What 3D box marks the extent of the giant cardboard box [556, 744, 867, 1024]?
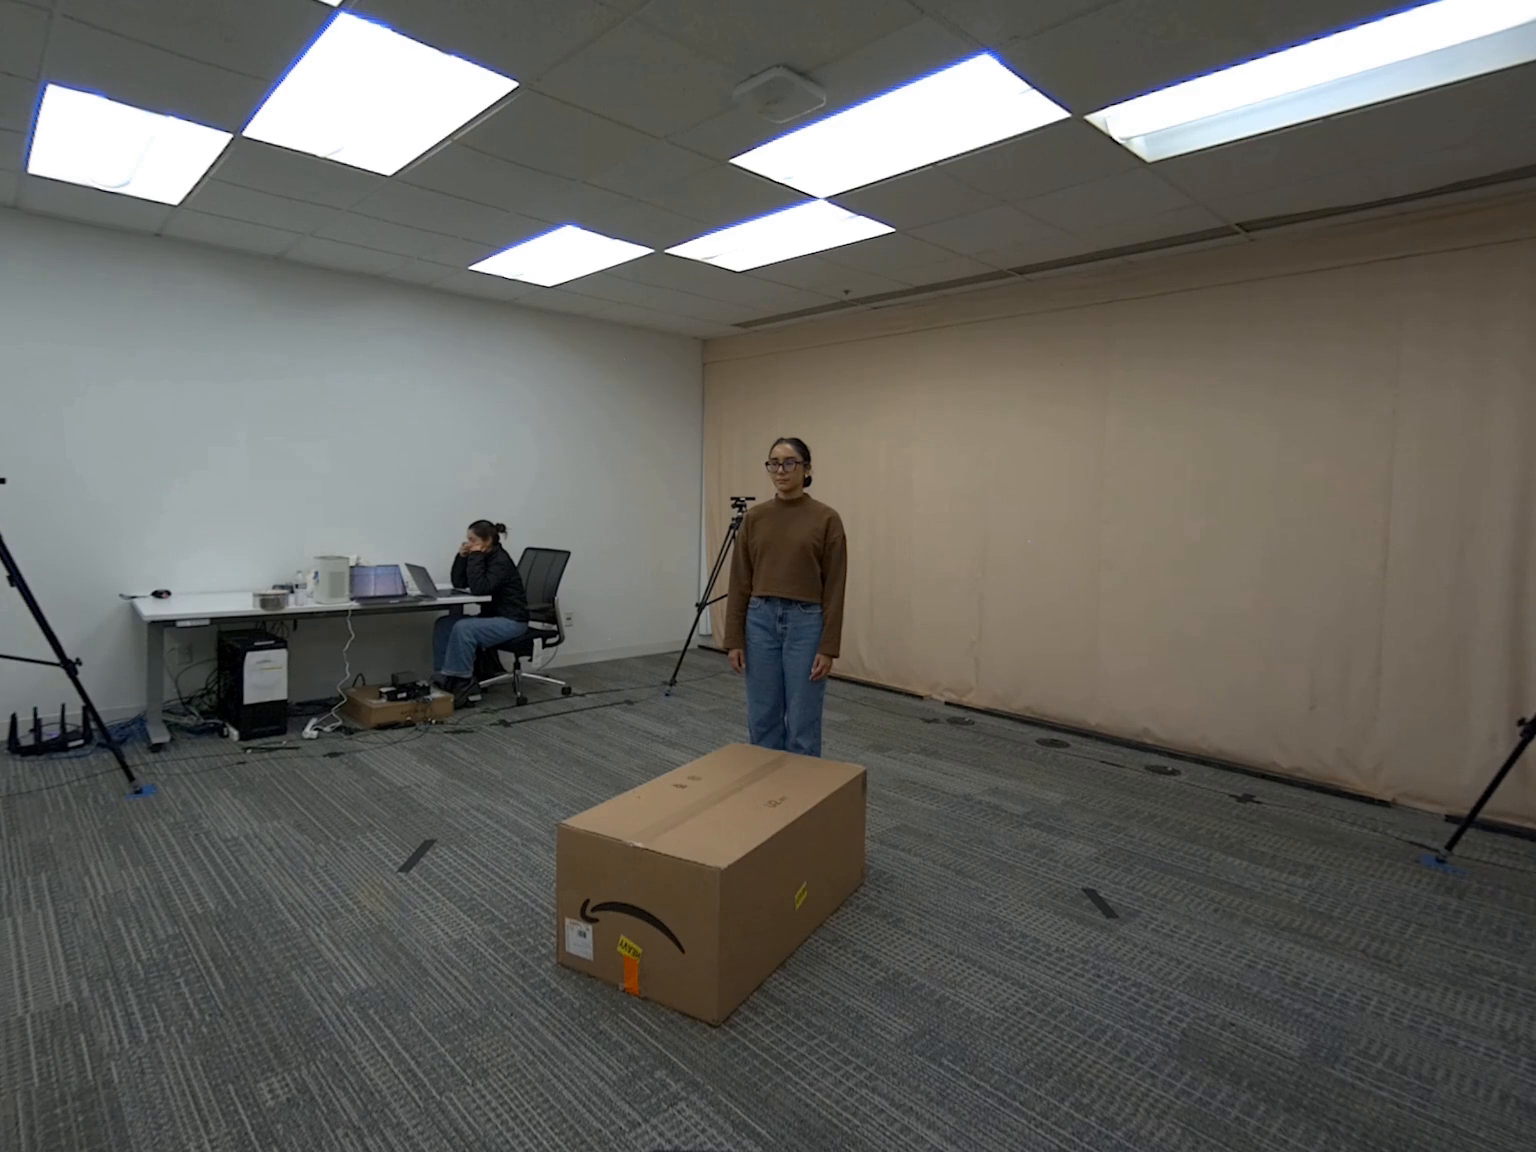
[{"bbox_3d":[-0.140,0.925,2.772,0.597,0.445,1.008,5,6,29],"label":"giant cardboard box"}]
